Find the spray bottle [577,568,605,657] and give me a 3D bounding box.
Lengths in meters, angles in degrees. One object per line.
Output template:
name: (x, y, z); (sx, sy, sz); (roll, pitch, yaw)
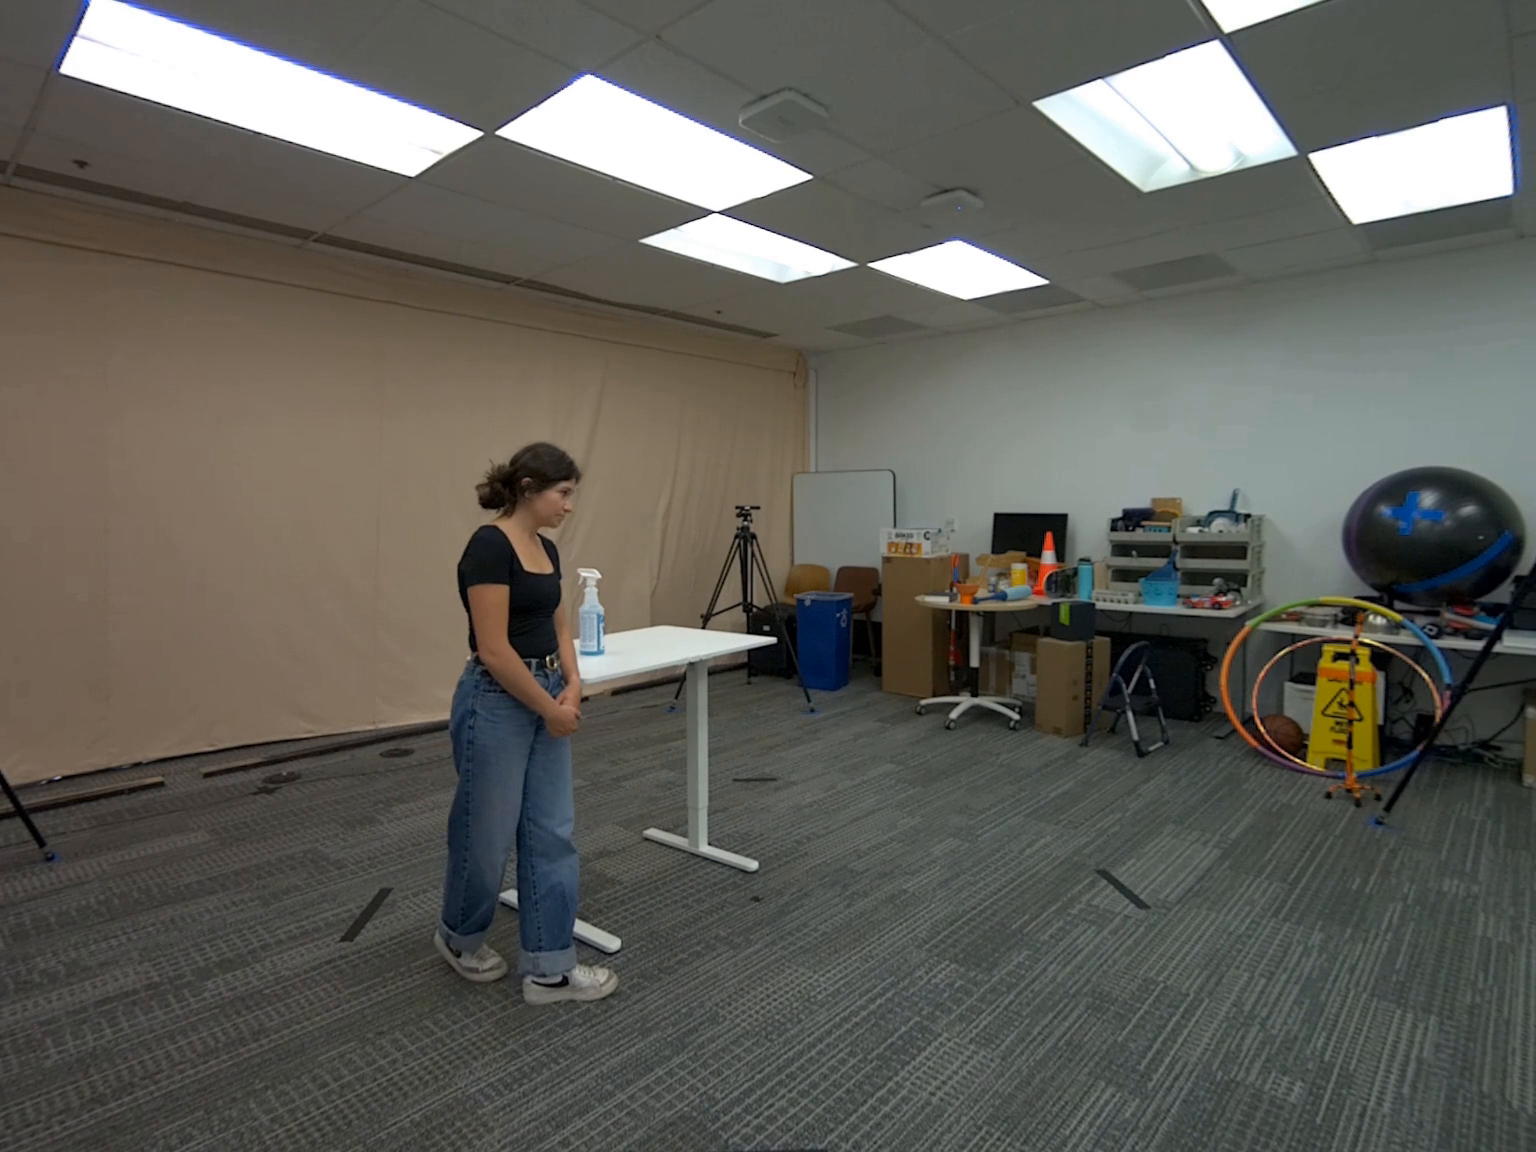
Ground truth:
spray bottle: (-0.618, 0.126, 2.922); (0.084, 0.297, 0.093); (-2, 3, -45)
